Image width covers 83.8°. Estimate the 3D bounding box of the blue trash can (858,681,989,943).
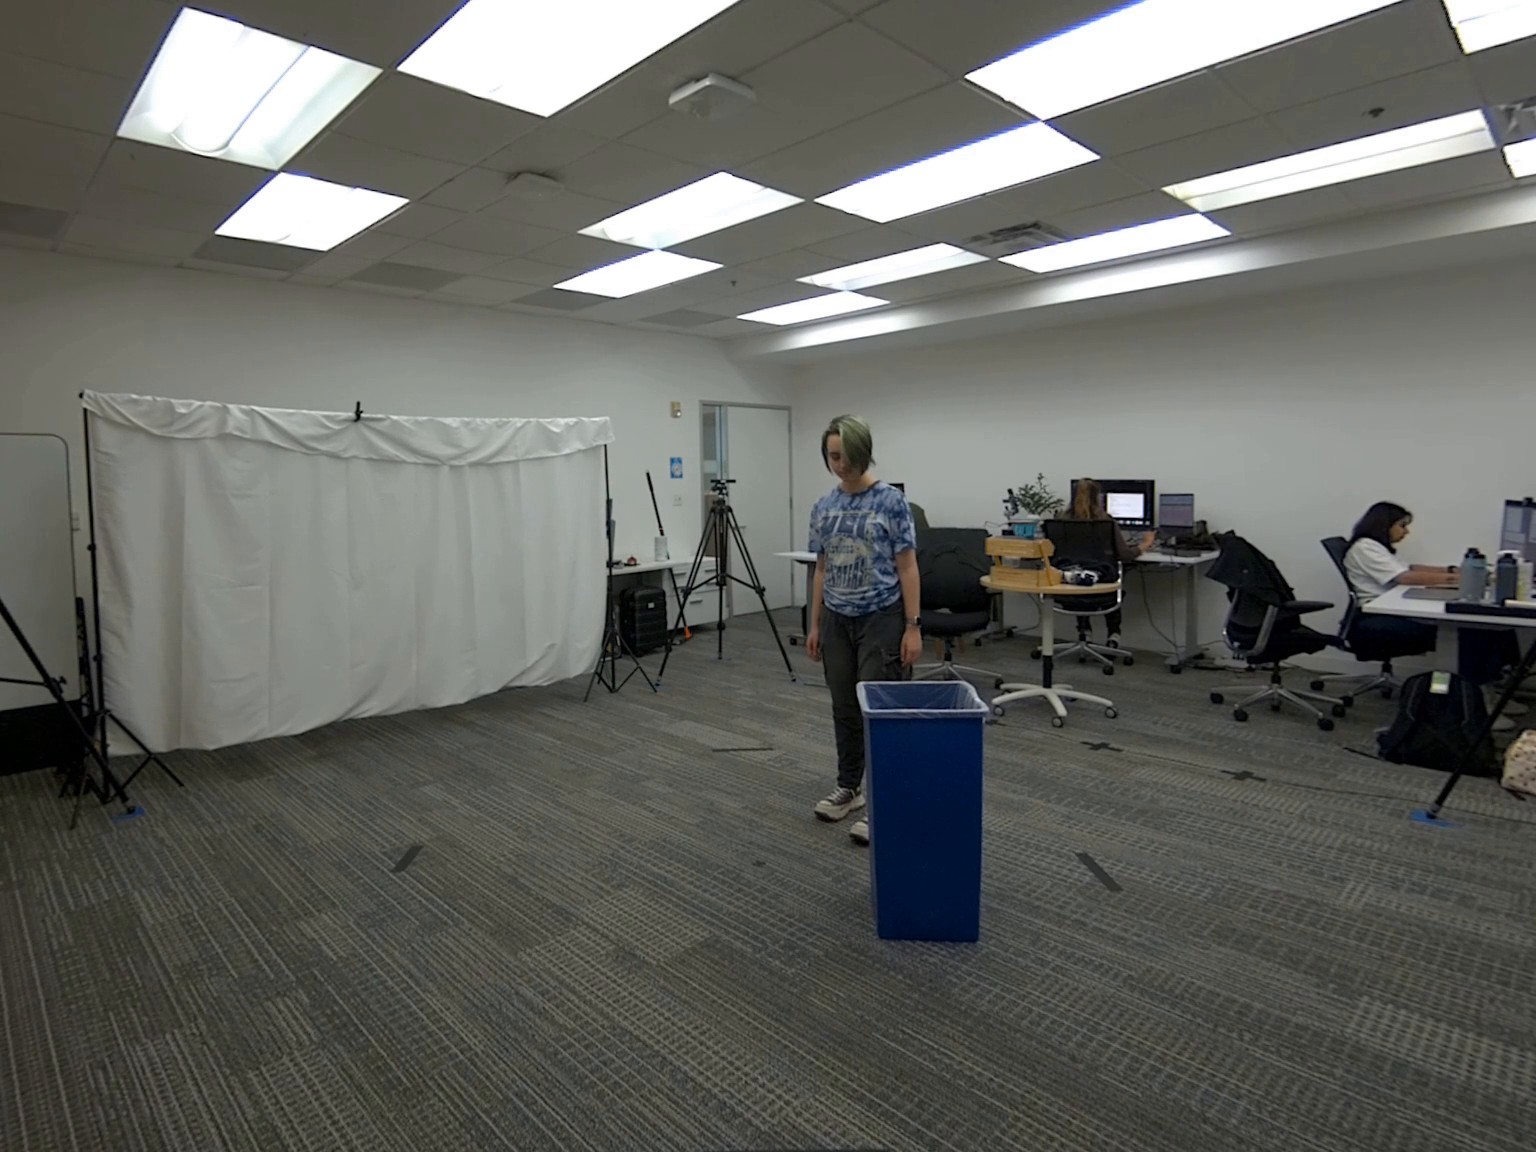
[{"bbox_3d":[0.481,0.732,2.694,0.376,0.711,0.377,-1,4,4],"label":"blue trash can"}]
